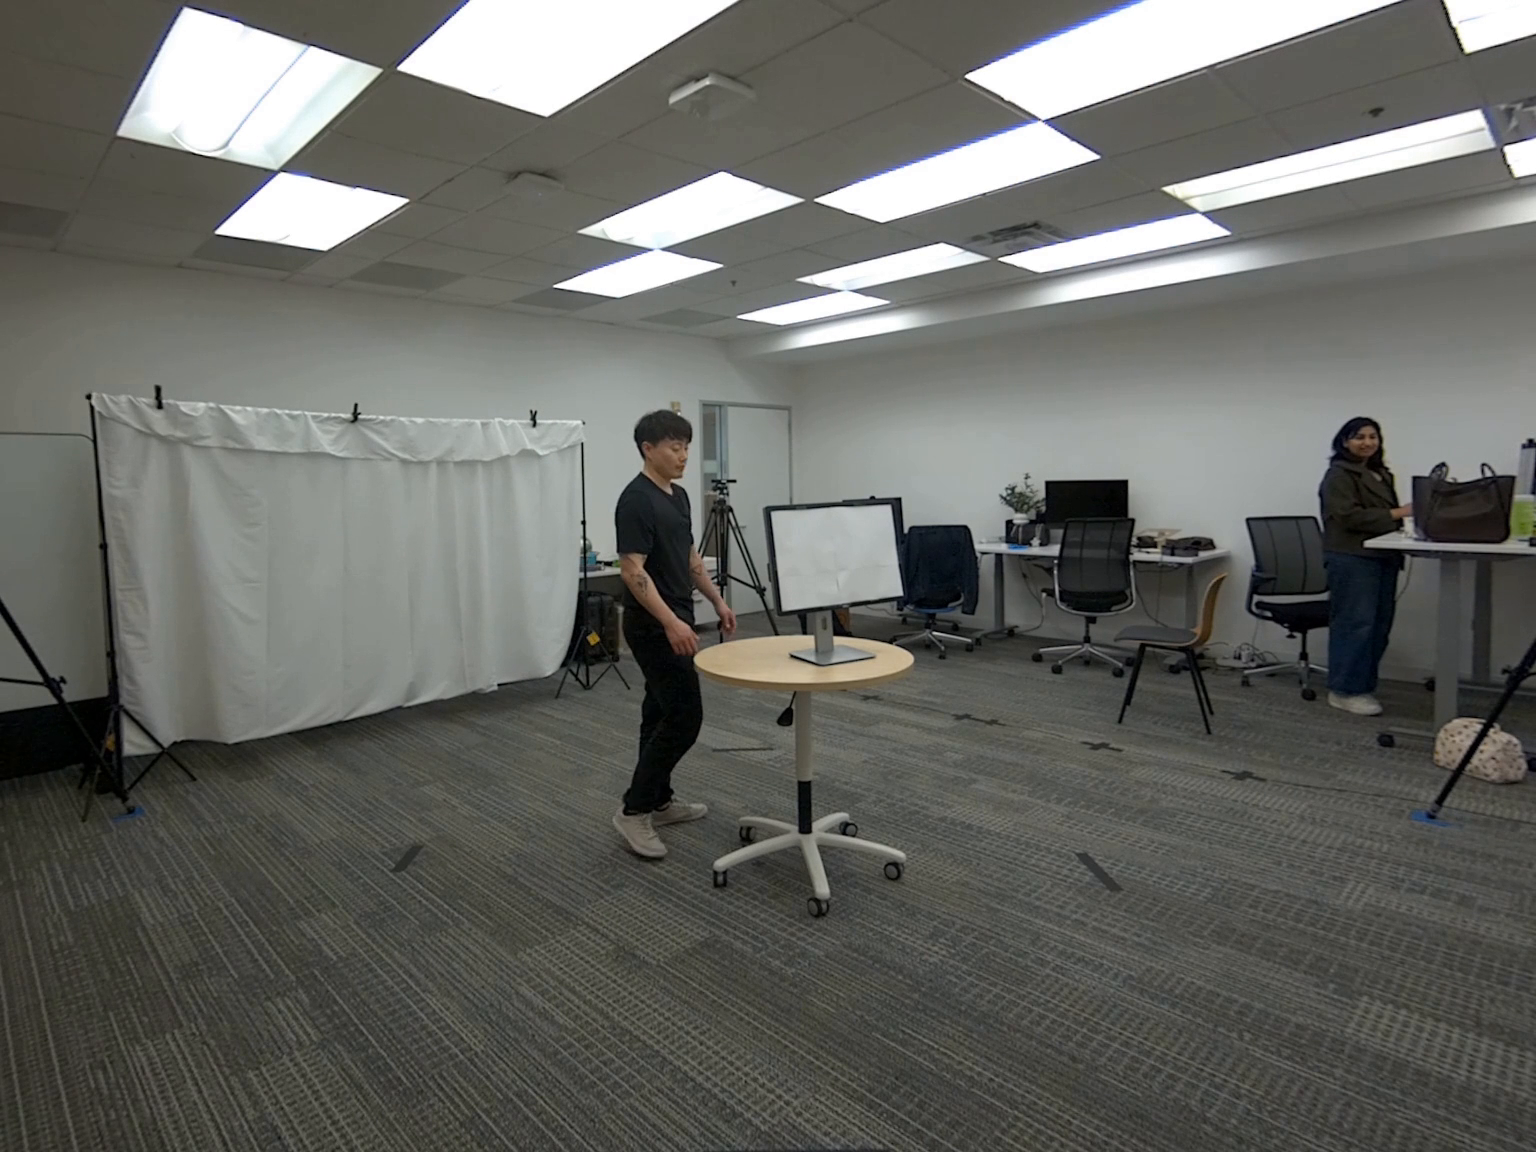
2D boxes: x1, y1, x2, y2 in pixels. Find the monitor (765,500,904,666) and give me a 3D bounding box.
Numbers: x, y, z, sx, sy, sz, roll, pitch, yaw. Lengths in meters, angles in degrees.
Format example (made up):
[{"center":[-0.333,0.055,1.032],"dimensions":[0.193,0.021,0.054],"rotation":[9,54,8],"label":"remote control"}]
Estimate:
[{"center":[0.219,0.019,2.964],"dimensions":[0.526,0.520,0.193],"rotation":[-5,7,-35],"label":"monitor"}]
